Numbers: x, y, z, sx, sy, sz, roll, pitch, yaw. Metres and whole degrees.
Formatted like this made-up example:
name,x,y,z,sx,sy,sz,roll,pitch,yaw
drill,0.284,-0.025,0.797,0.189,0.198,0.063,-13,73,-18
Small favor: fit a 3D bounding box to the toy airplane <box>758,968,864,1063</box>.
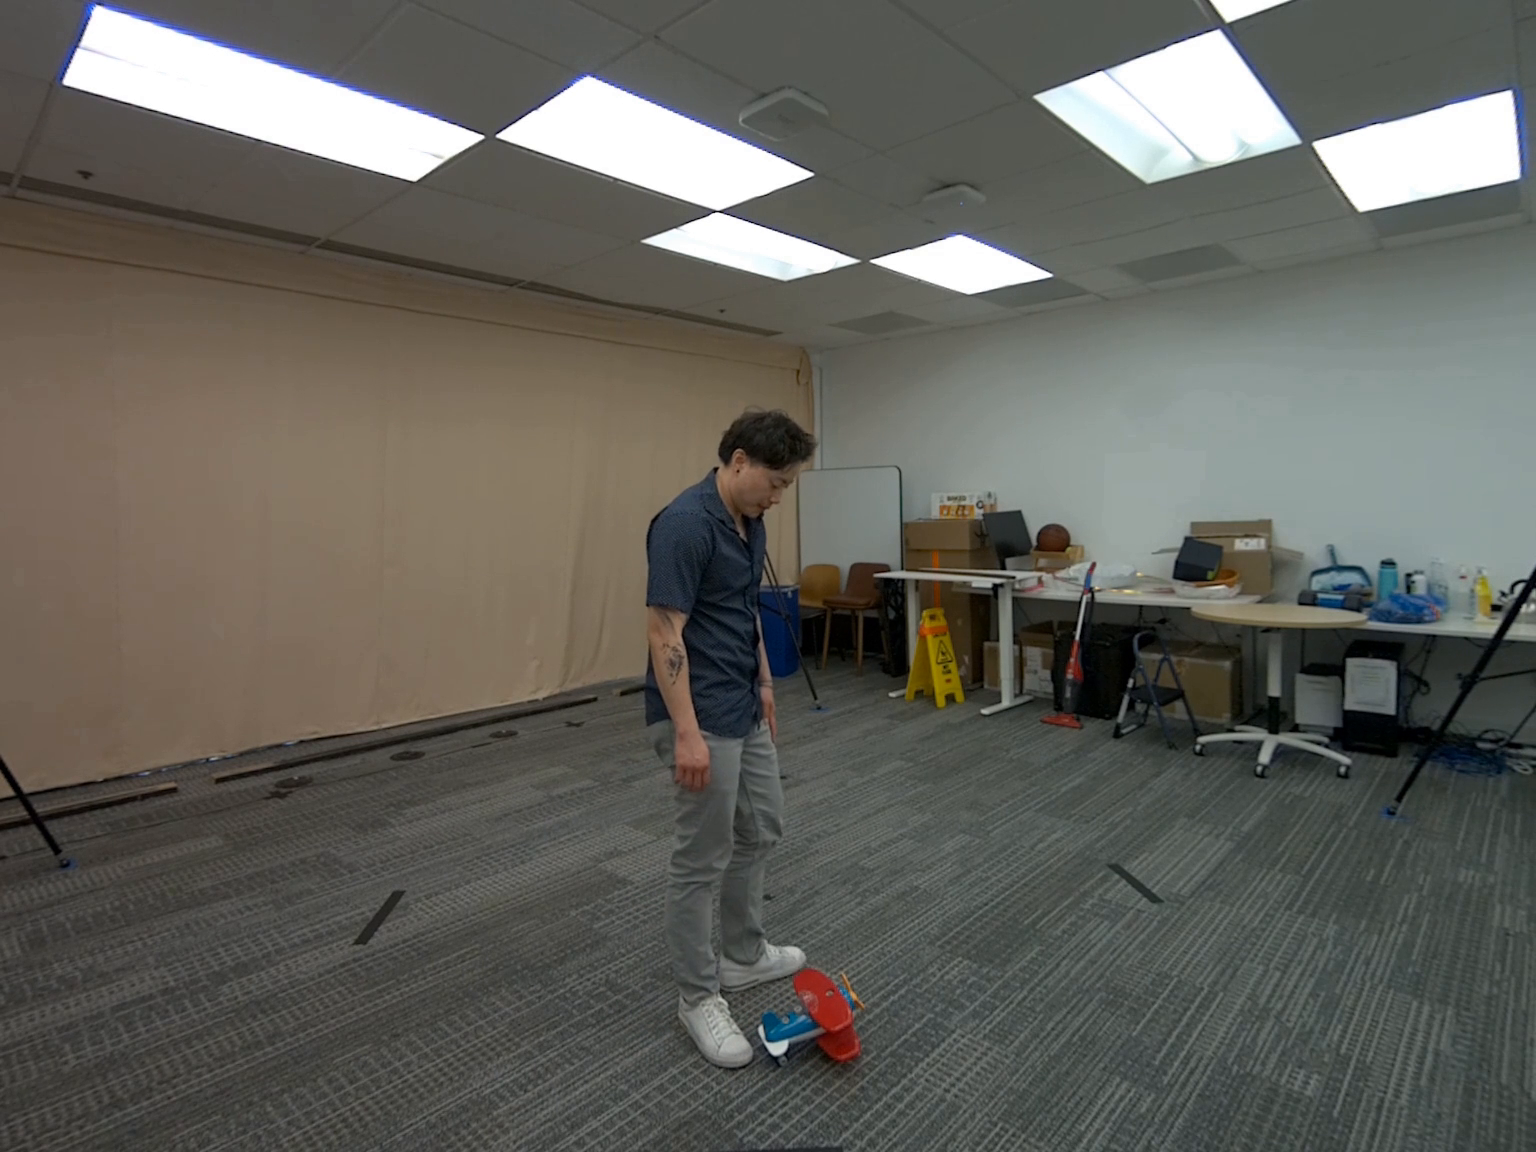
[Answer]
name,x,y,z,sx,sy,sz,roll,pitch,yaw
toy airplane,0.123,1.144,2.108,0.259,0.156,0.251,4,6,44
